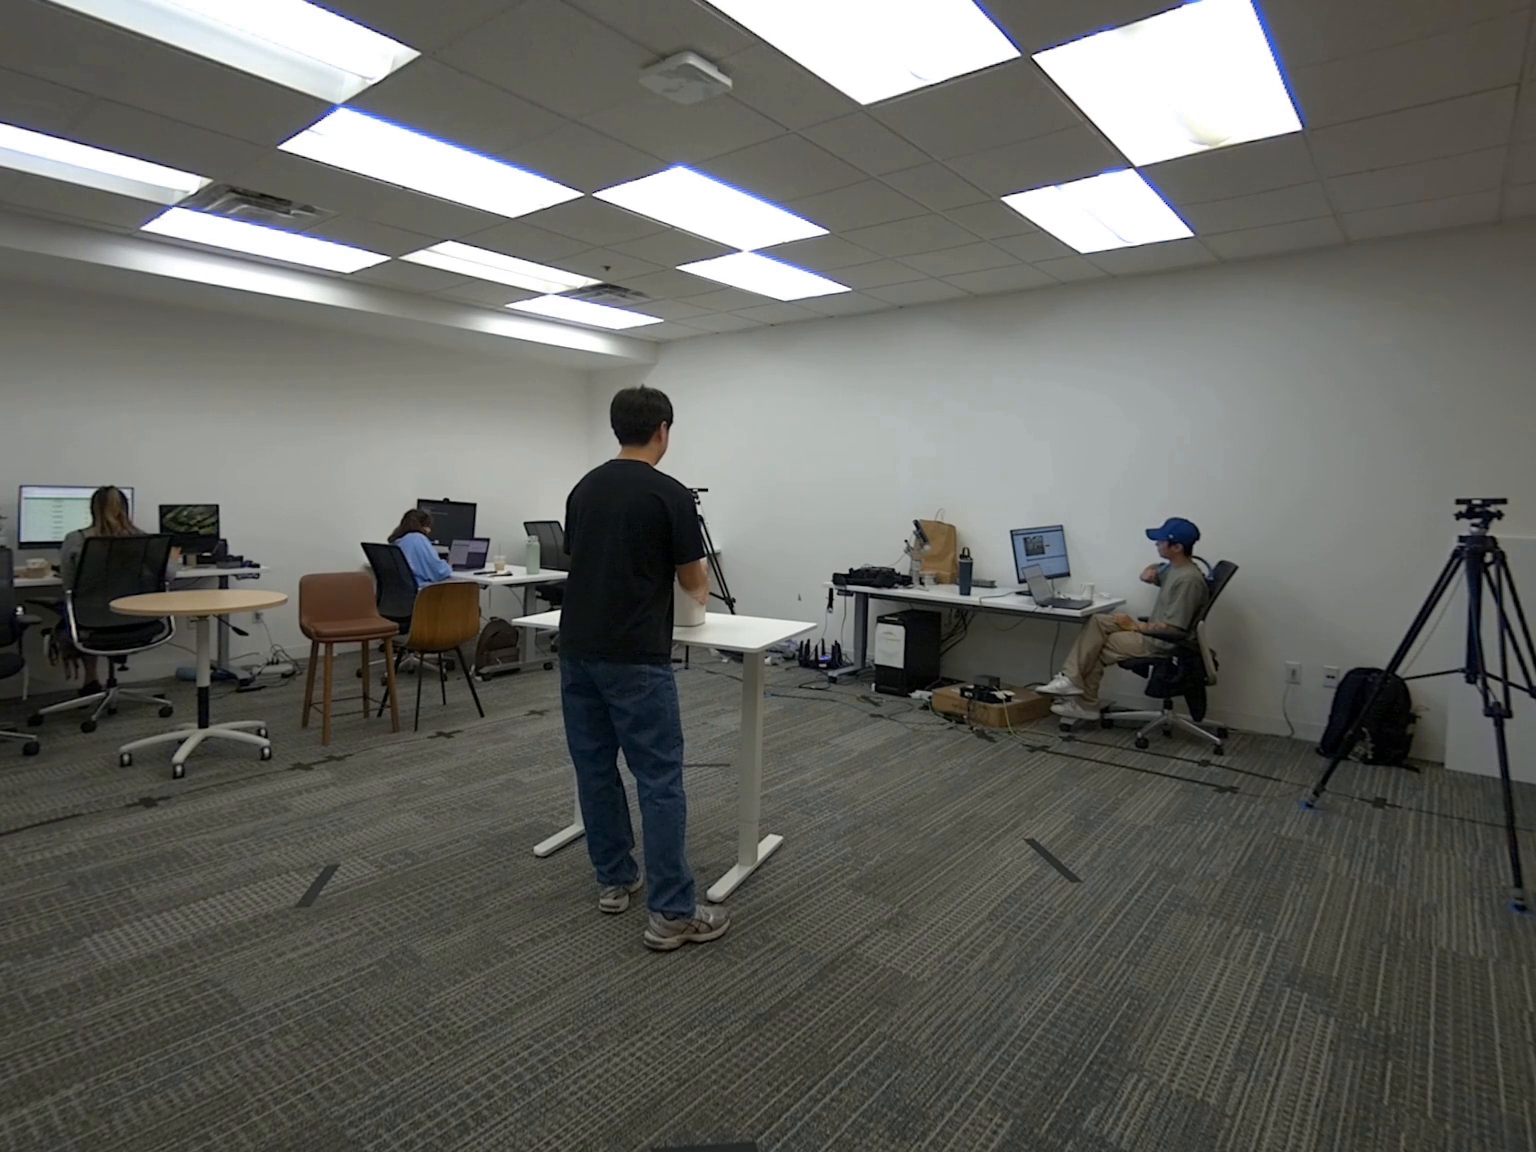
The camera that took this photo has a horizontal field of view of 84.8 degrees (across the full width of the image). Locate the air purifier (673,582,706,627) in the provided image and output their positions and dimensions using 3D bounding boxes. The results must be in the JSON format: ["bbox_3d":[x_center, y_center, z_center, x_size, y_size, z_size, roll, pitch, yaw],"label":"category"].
[{"bbox_3d":[-0.332,0.043,3.197,0.174,0.264,0.169,2,4,17],"label":"air purifier"}]
